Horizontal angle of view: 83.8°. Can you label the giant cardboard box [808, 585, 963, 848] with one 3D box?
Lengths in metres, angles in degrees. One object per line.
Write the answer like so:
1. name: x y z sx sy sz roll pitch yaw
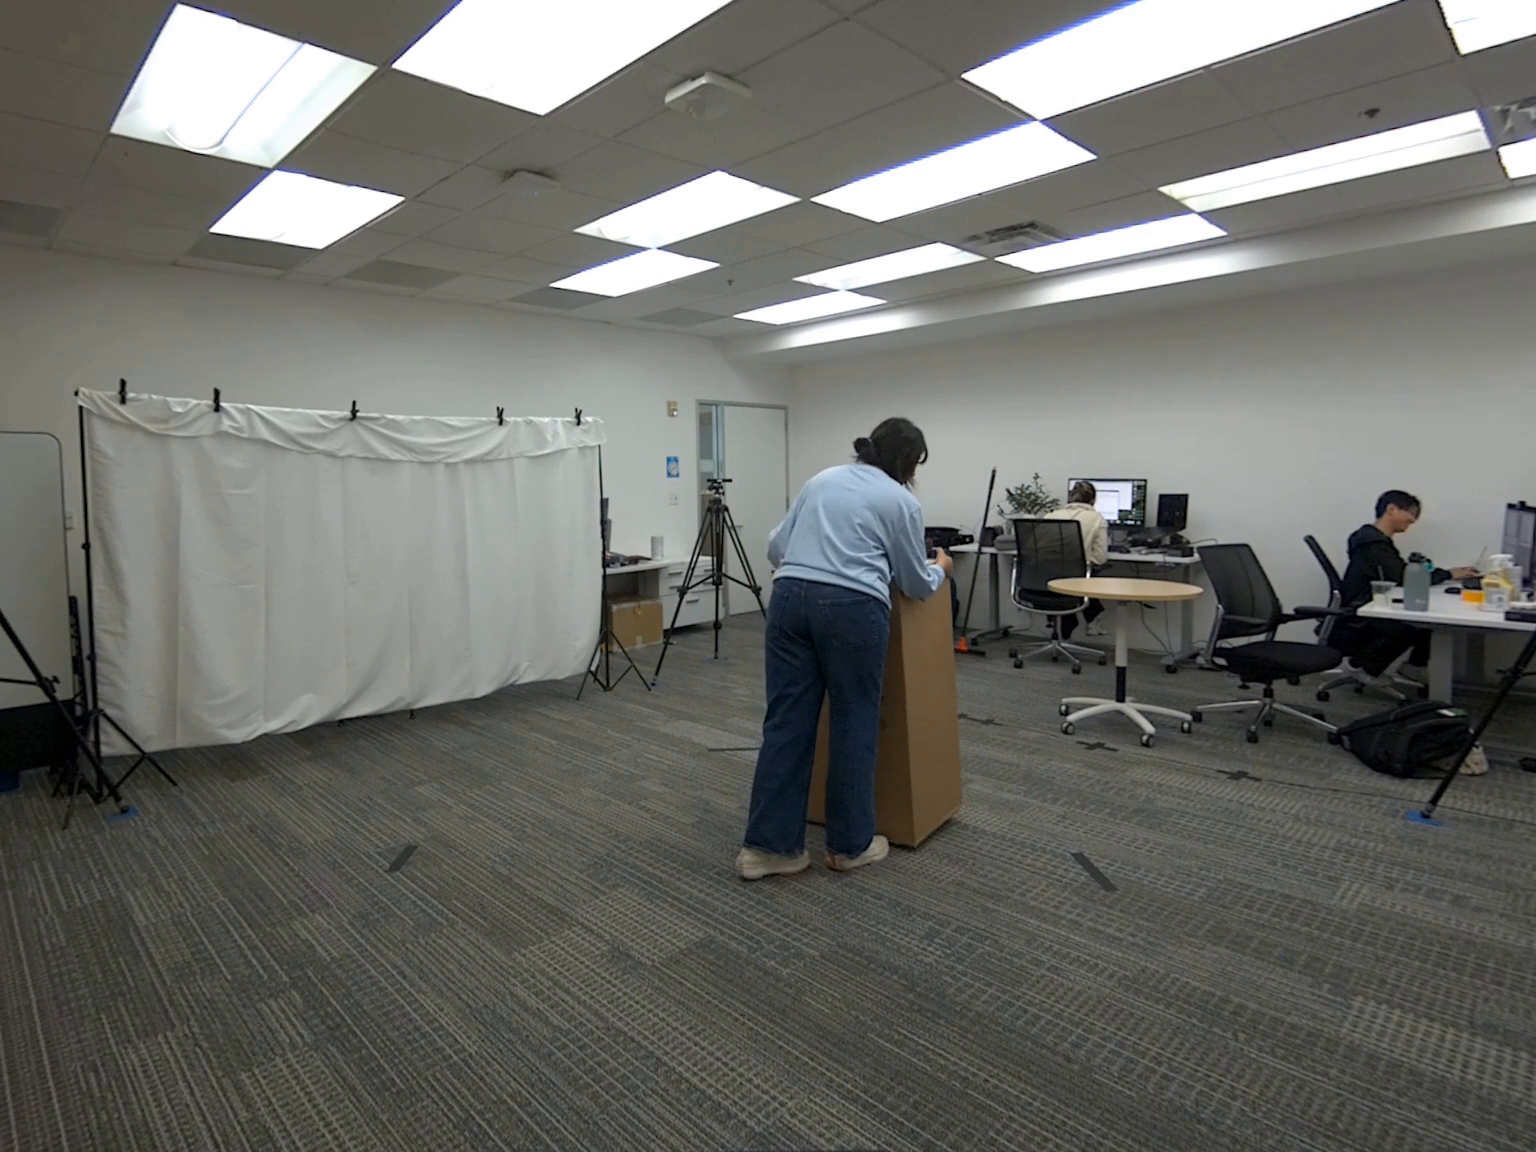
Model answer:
1. giant cardboard box: 0.406 0.458 3.465 0.601 1.022 0.436 1 7 40
